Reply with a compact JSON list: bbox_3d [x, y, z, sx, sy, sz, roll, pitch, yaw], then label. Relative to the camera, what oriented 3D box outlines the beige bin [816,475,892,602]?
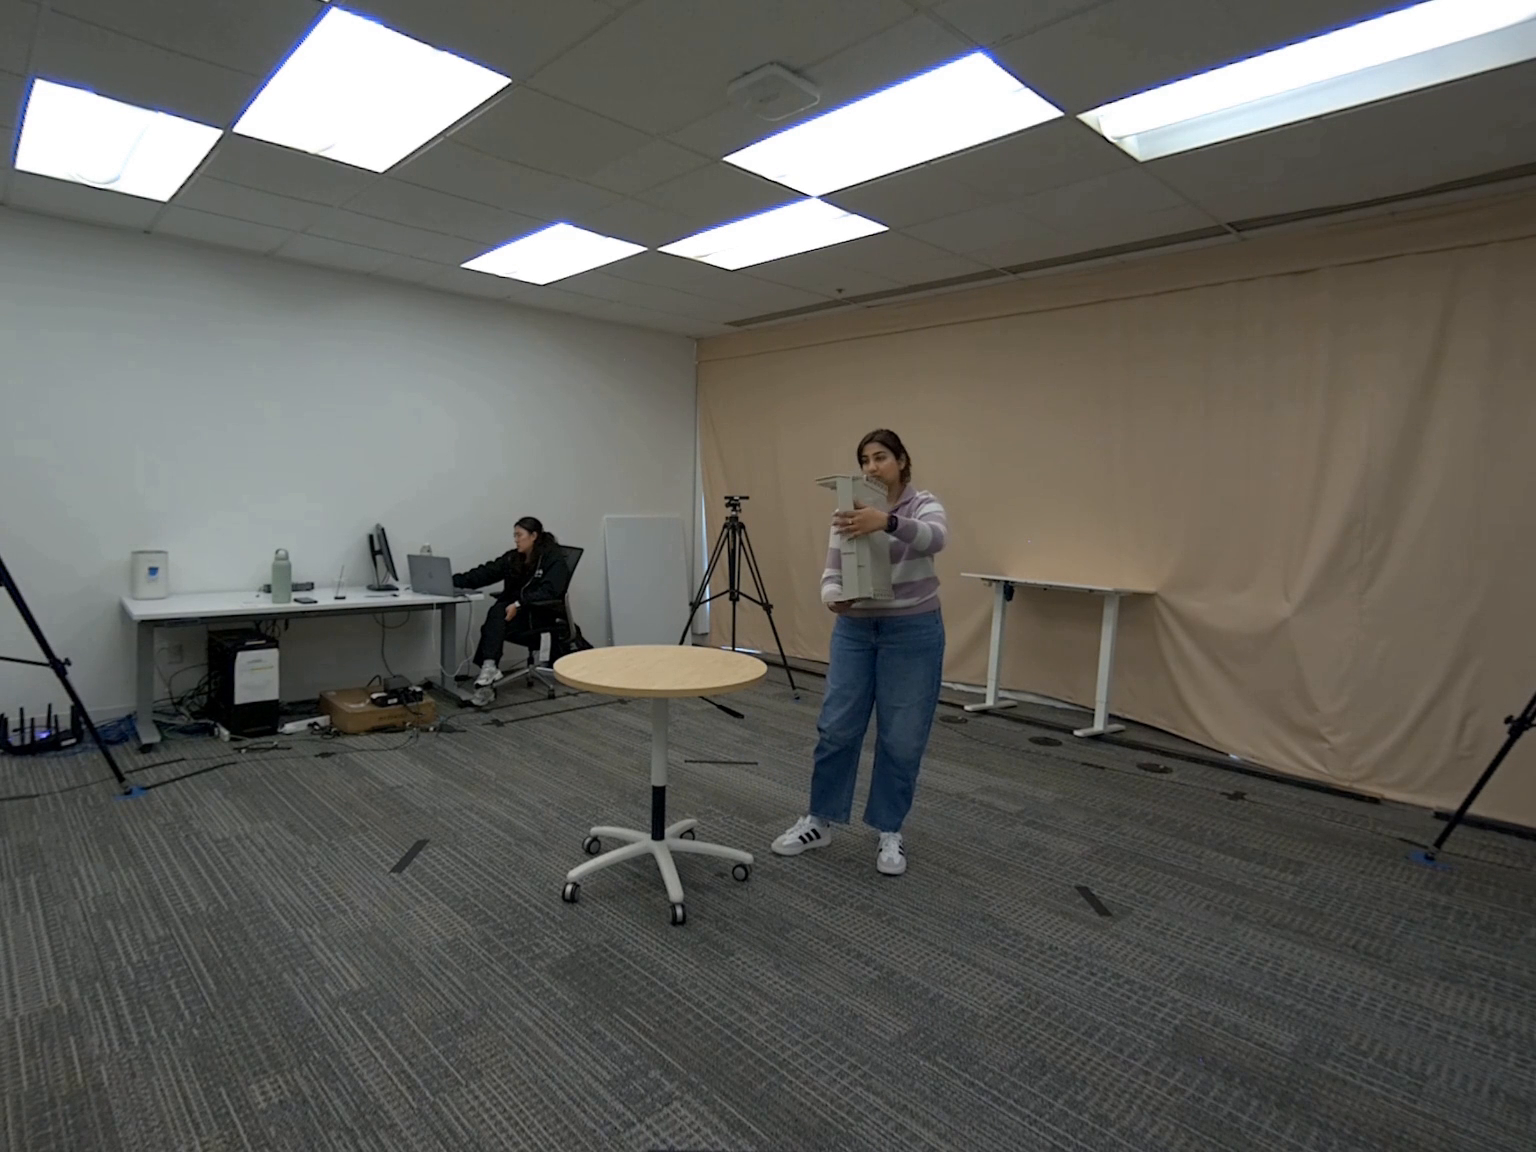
[{"bbox_3d":[0.290,-0.123,2.943,0.192,0.424,0.369,-4,-5,23],"label":"beige bin"}]
